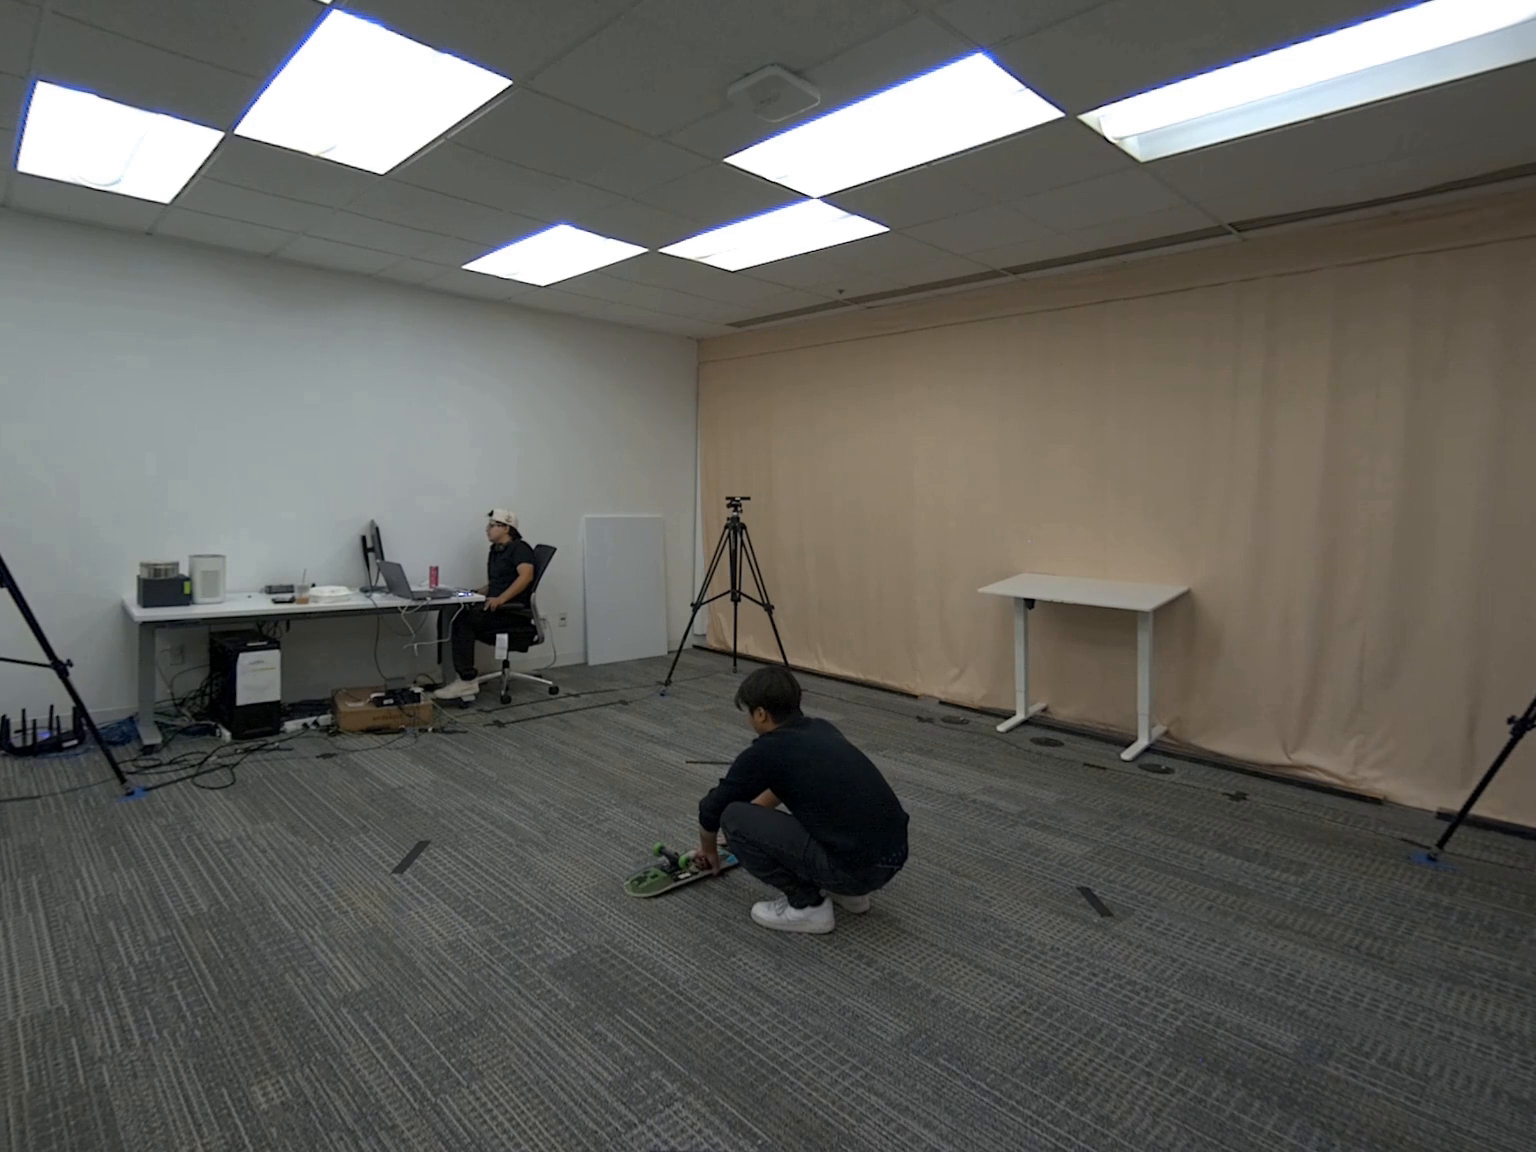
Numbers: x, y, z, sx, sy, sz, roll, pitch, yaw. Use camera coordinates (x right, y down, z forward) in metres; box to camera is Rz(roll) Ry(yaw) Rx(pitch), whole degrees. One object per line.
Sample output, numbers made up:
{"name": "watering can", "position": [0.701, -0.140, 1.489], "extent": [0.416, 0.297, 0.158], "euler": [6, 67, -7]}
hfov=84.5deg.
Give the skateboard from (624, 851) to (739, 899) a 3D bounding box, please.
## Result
{"name": "skateboard", "position": [-0.221, 1.050, 3.210], "extent": [0.768, 0.110, 0.198], "euler": [-4, 4, -43]}
